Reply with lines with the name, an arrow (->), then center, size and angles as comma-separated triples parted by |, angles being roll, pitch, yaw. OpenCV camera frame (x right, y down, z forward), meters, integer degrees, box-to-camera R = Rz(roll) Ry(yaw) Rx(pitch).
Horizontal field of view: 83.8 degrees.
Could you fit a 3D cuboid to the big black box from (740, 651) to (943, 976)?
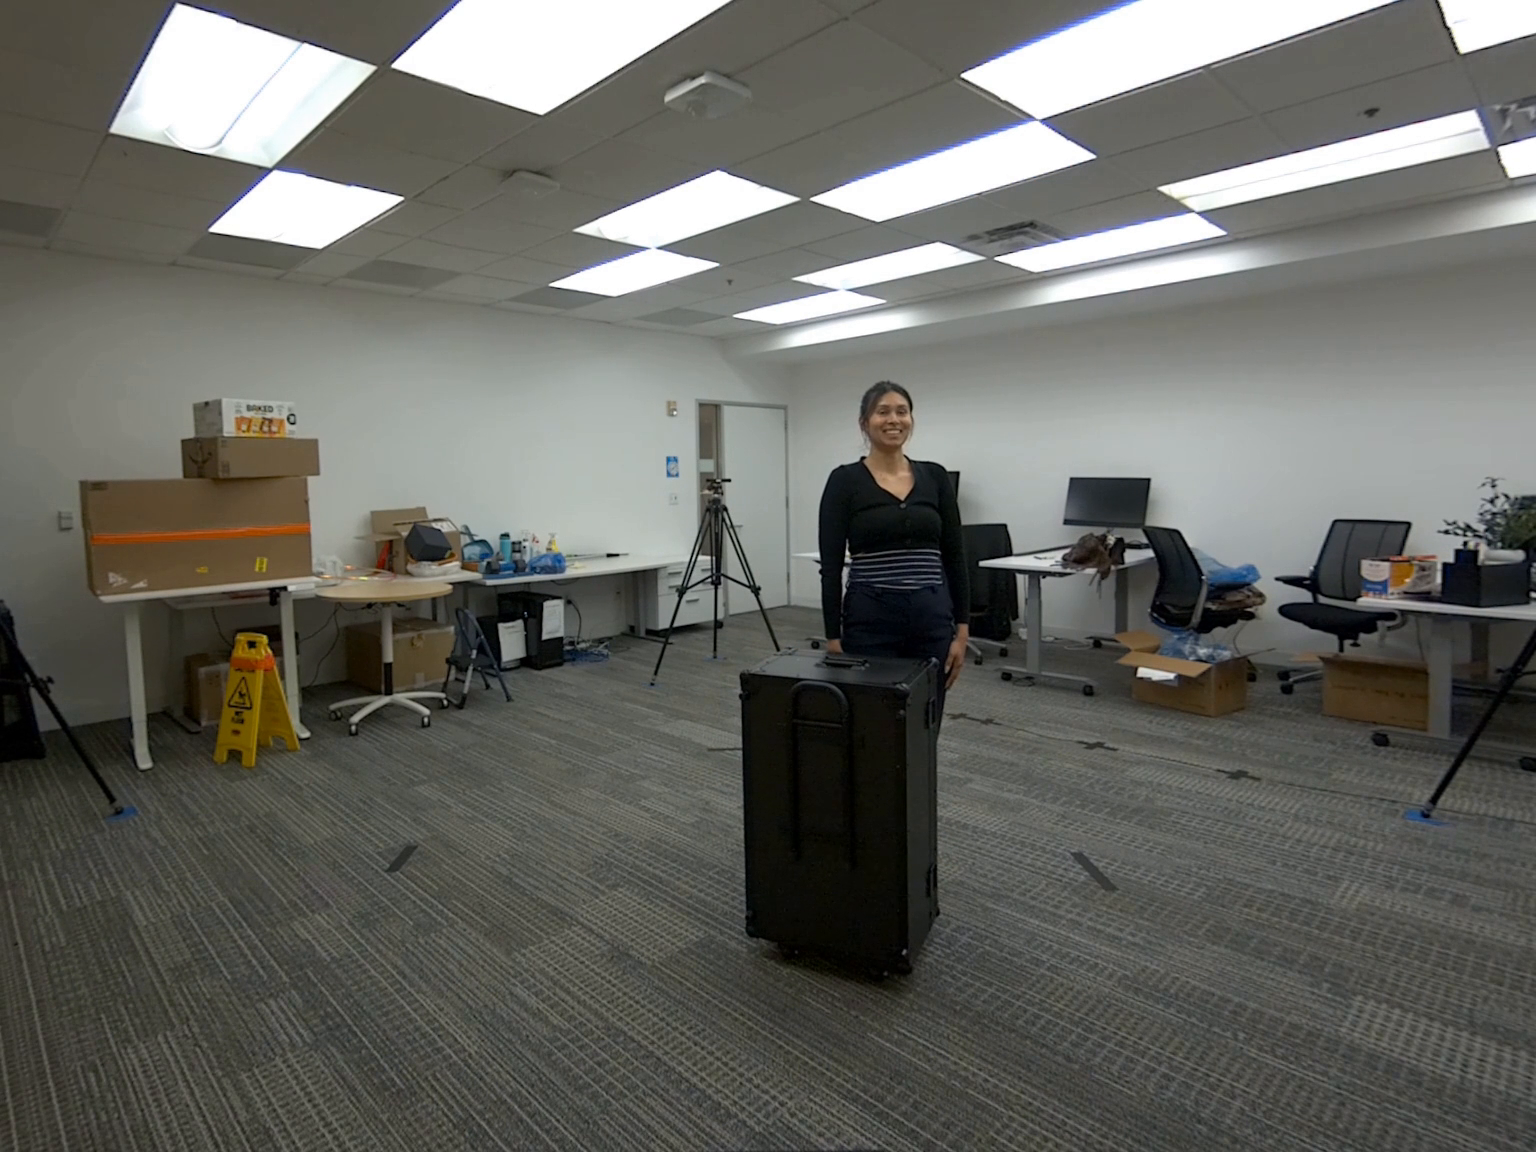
big black box -> 0.220, 0.687, 2.490 | 0.534, 0.857, 0.389 | 2, 6, 27
